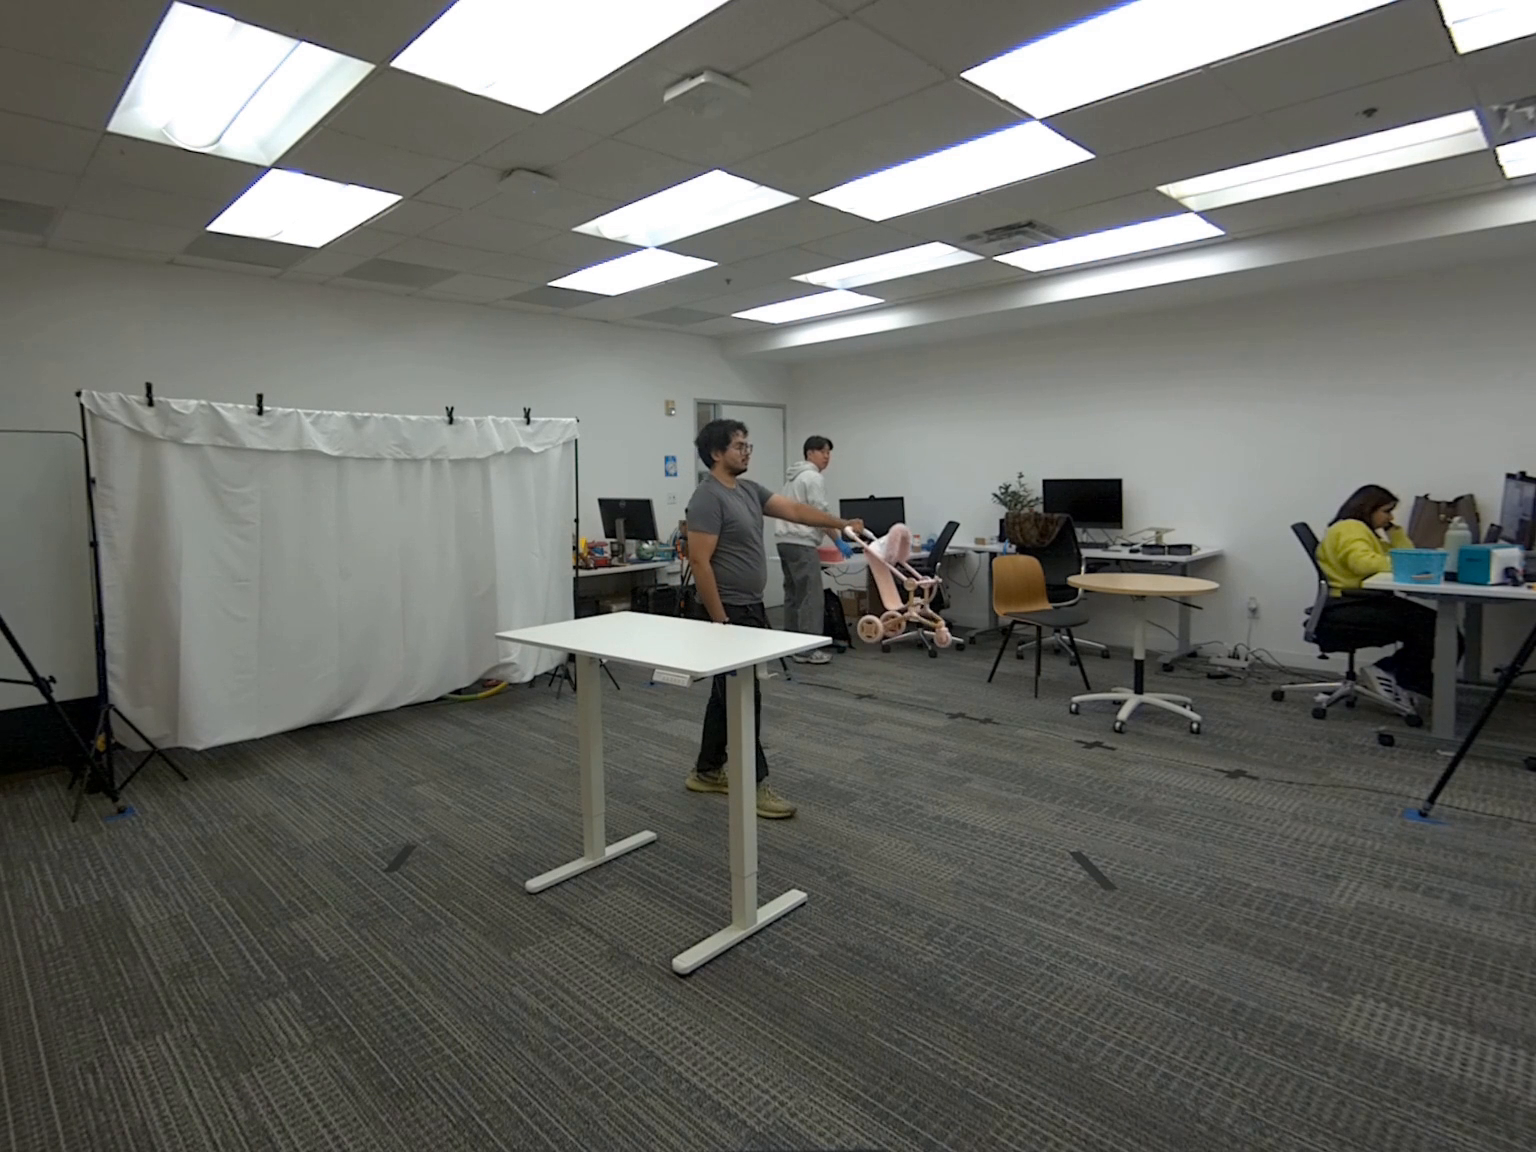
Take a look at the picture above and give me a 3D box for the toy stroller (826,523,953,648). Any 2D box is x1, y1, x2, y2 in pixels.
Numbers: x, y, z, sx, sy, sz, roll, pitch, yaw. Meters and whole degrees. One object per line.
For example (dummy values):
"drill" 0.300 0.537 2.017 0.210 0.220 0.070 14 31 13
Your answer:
"toy stroller" 0.526 0.035 3.403 0.348 0.538 0.274 -12 -6 33
